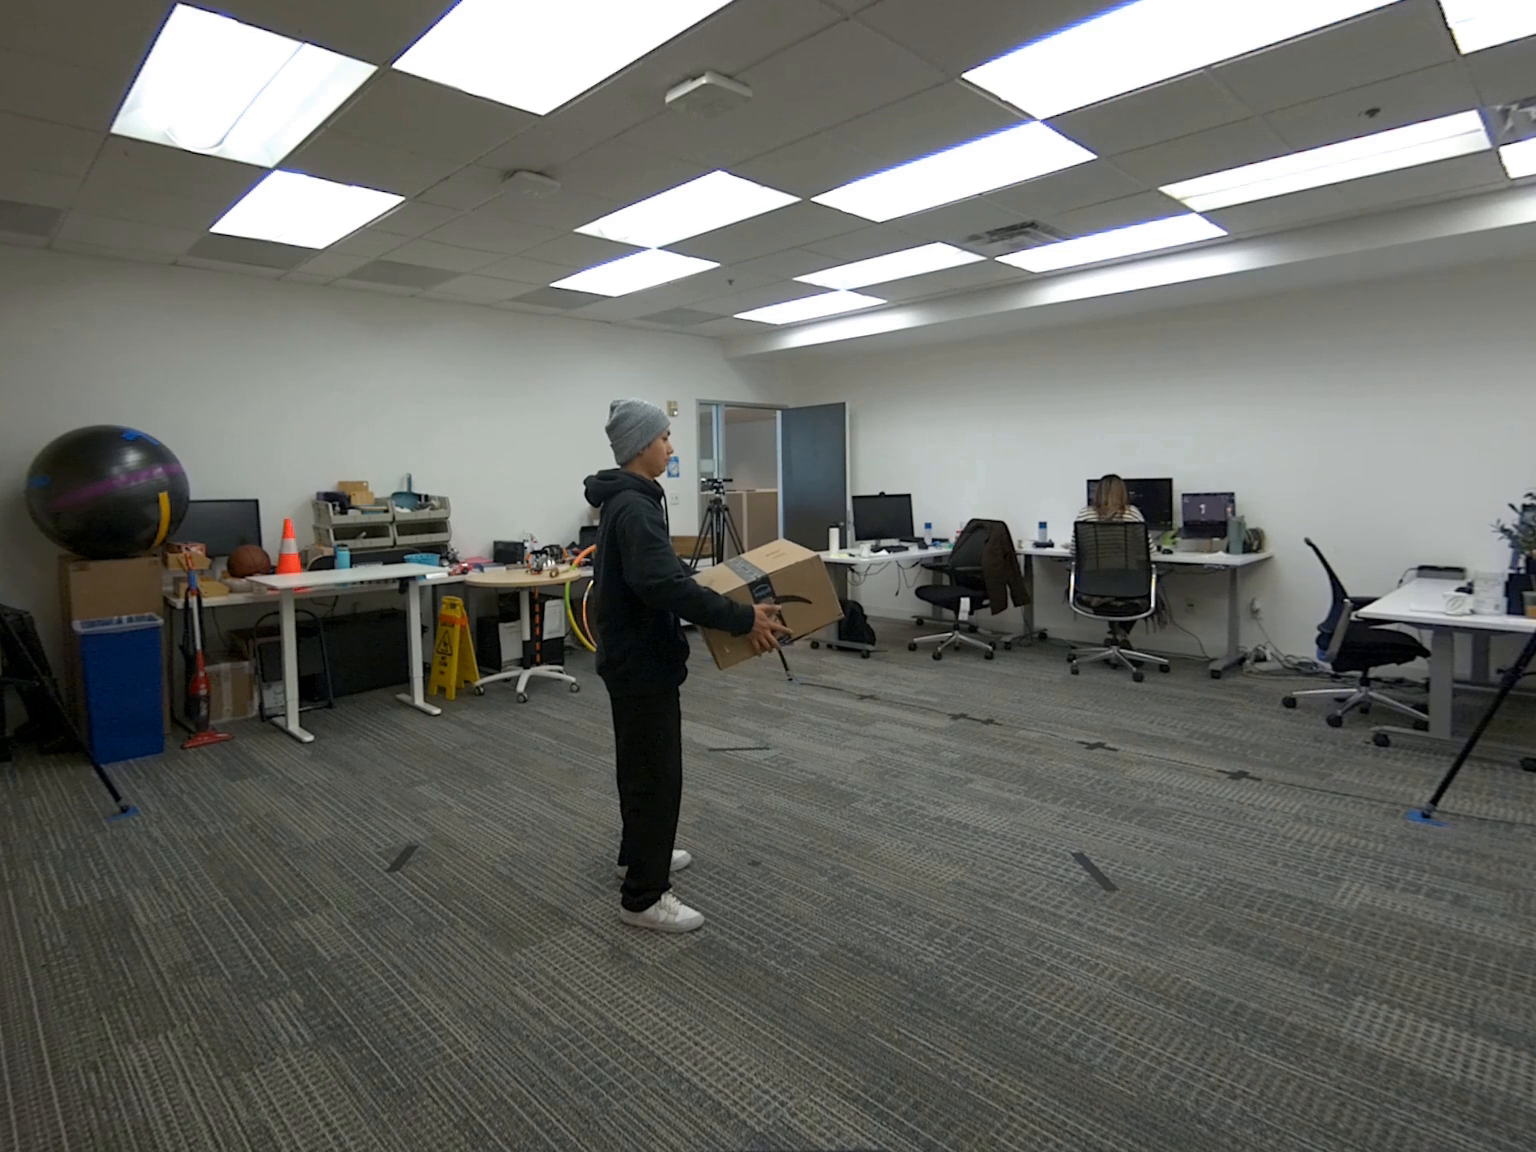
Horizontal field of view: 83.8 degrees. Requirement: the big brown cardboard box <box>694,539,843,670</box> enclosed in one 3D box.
[{"bbox_3d":[-0.043,0.075,2.862,0.416,0.230,0.597,-22,11,-4],"label":"big brown cardboard box"}]
